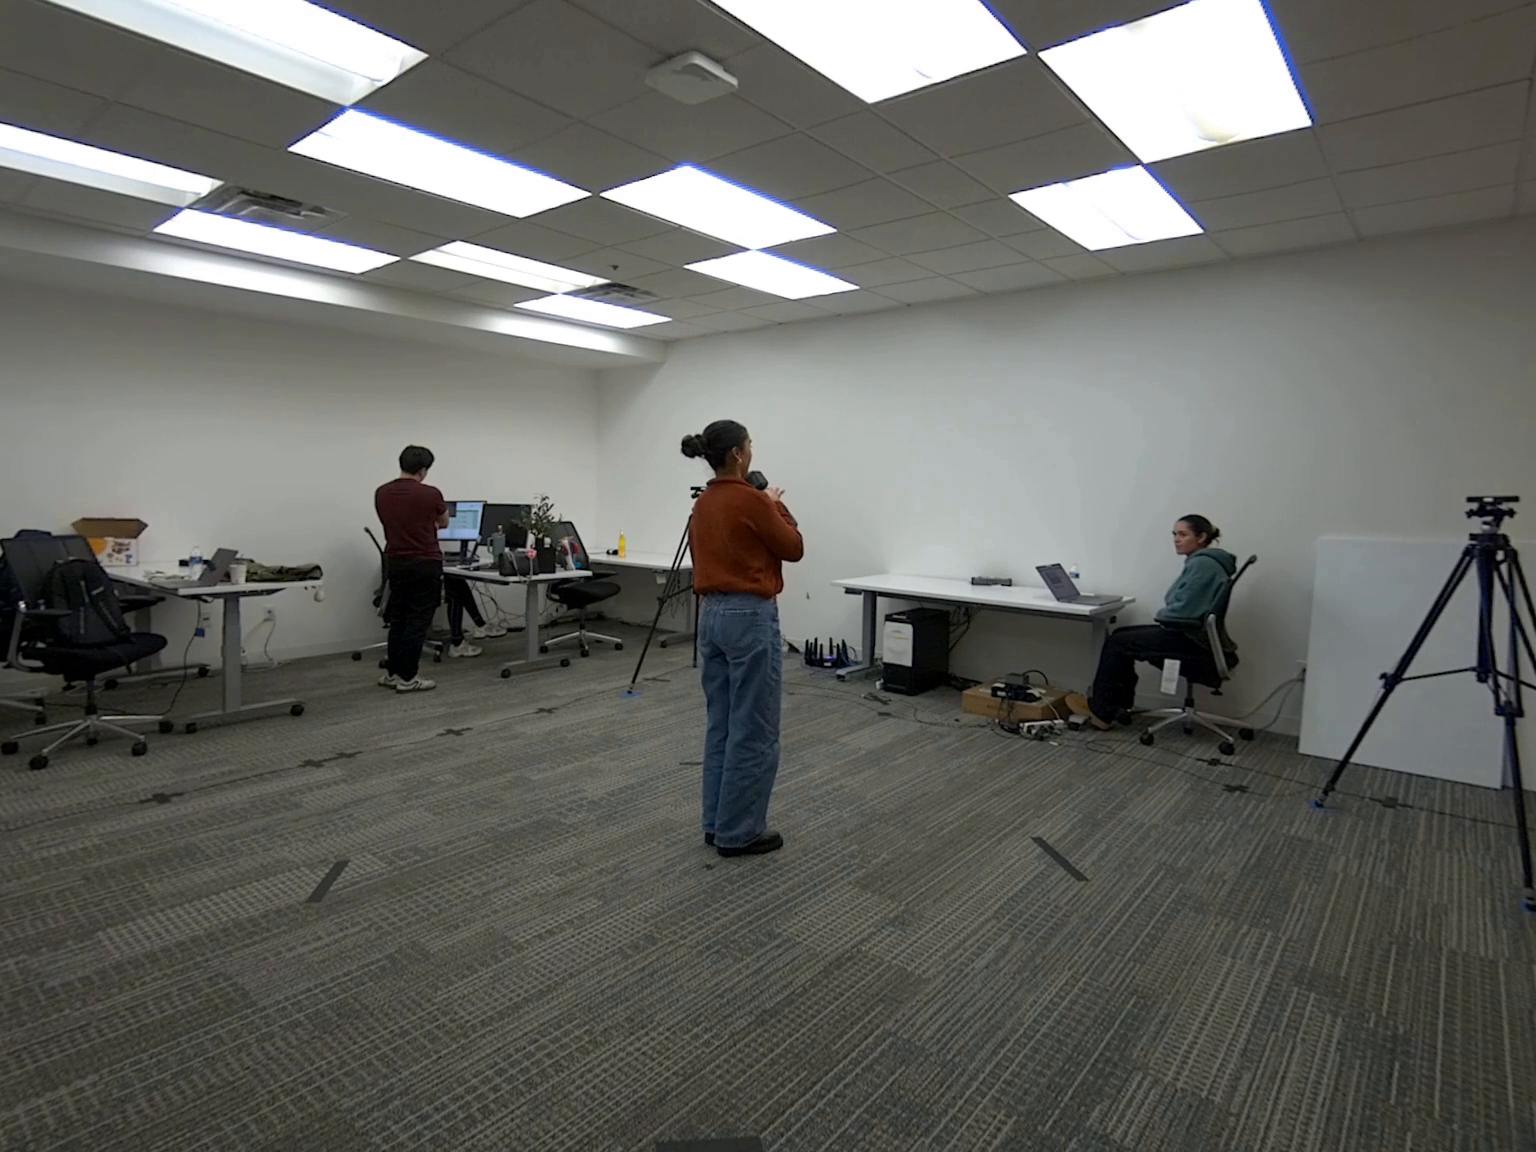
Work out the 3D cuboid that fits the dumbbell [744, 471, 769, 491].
[{"bbox_3d":[-0.013,-0.284,3.418,0.109,0.299,0.120,-43,-16,28],"label":"dumbbell"}]
